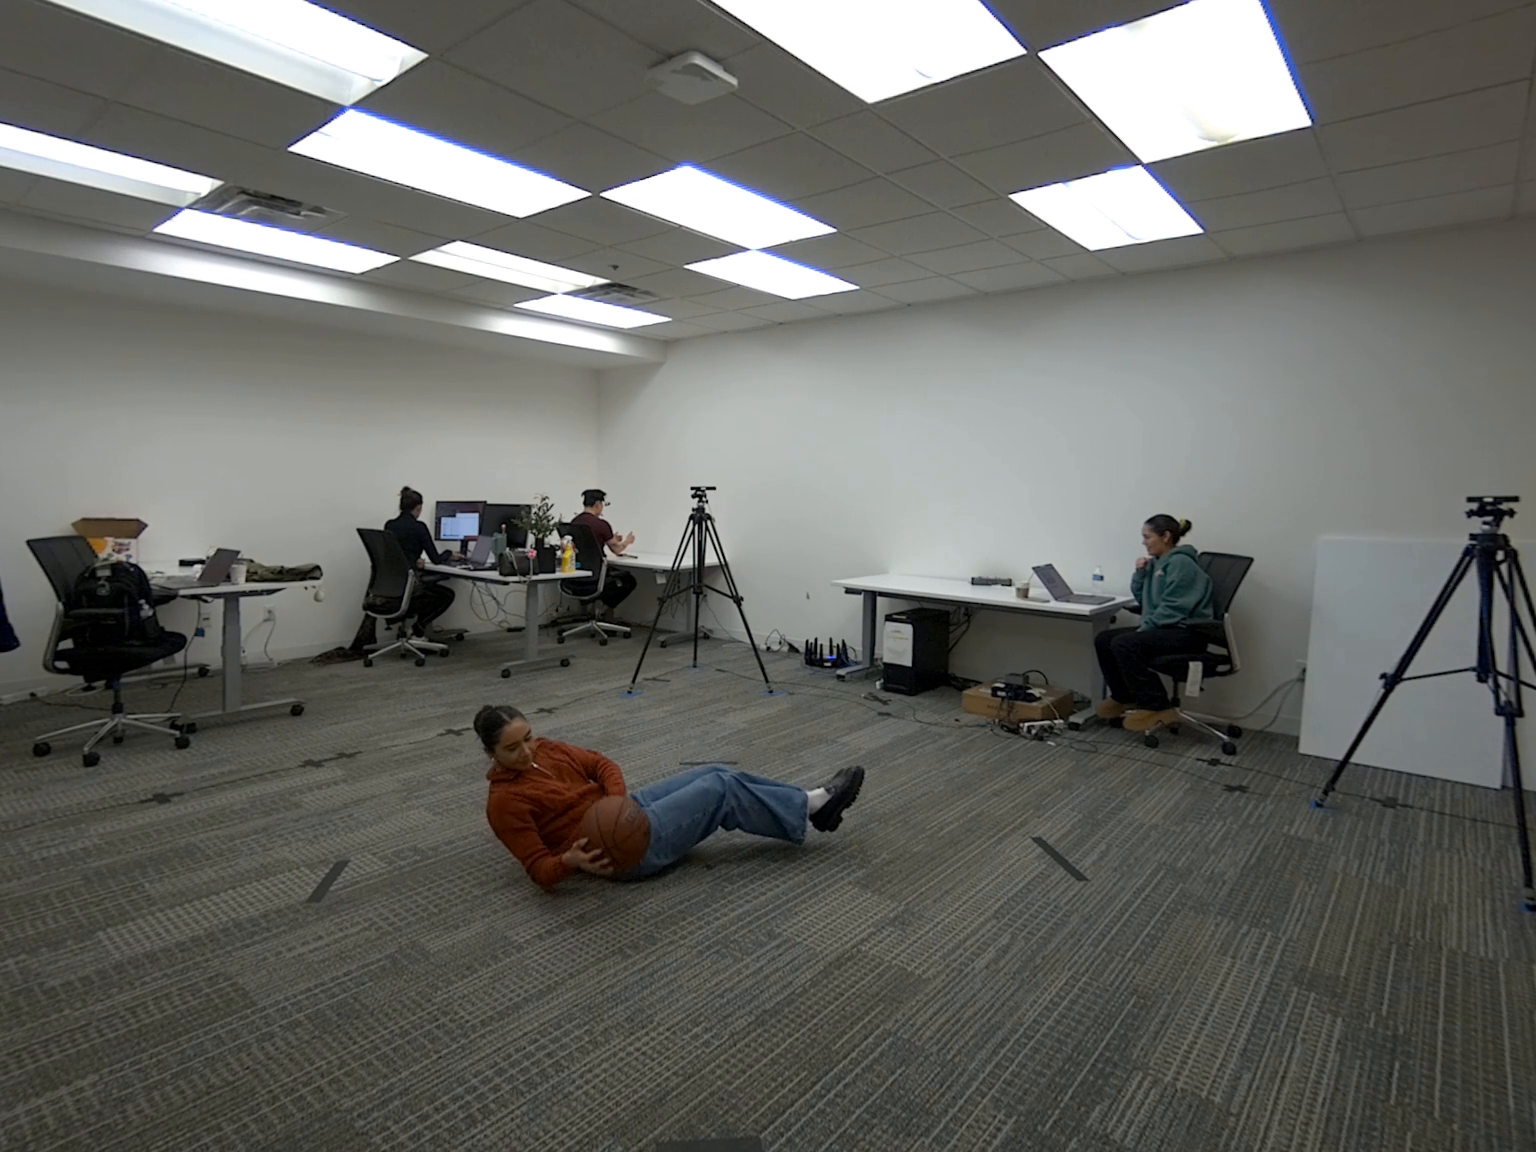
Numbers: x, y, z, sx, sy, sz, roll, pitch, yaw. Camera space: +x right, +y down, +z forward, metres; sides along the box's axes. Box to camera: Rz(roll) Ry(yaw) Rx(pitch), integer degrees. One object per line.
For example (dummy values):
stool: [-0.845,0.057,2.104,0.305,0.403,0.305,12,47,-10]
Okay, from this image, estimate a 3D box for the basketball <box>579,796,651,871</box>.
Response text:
basketball: [-0.505,0.818,2.788,0.235,0.235,0.237,1,4,-2]
